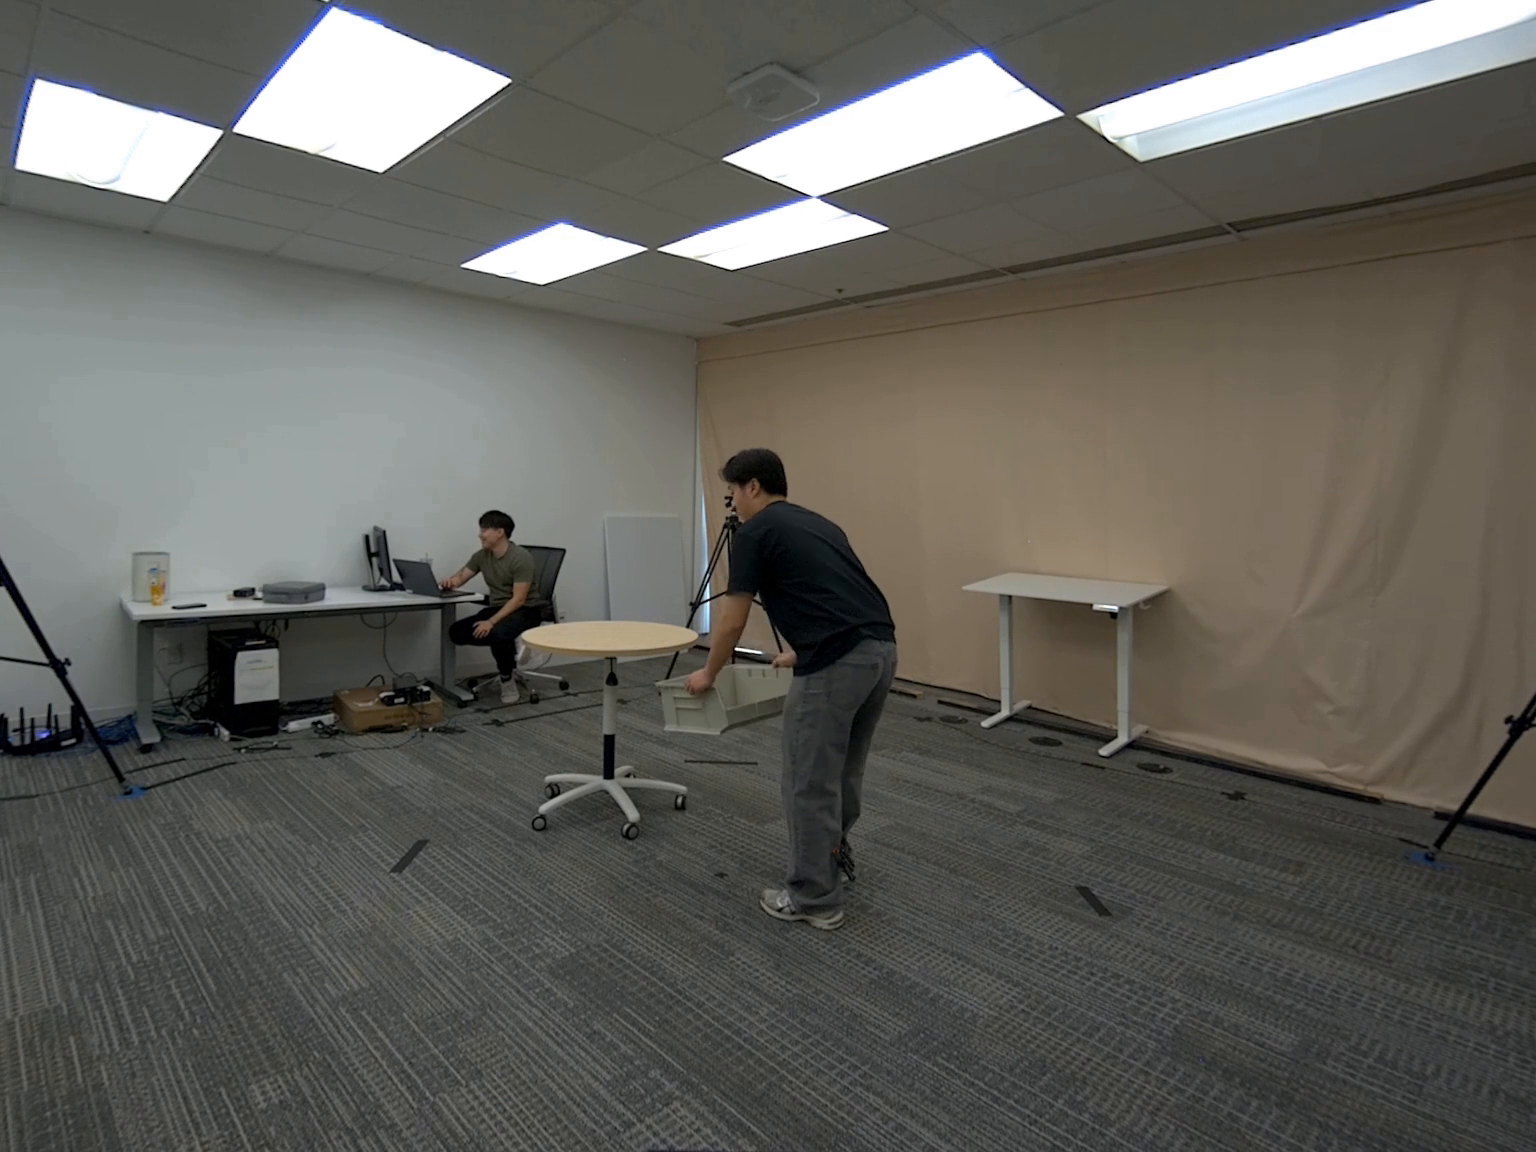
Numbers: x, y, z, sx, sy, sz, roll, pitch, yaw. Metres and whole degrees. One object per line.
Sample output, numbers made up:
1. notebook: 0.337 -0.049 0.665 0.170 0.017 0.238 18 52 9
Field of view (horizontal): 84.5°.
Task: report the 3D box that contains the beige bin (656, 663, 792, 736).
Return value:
1. beige bin: -0.147 0.462 3.178 0.413 0.189 0.385 -8 2 -45
